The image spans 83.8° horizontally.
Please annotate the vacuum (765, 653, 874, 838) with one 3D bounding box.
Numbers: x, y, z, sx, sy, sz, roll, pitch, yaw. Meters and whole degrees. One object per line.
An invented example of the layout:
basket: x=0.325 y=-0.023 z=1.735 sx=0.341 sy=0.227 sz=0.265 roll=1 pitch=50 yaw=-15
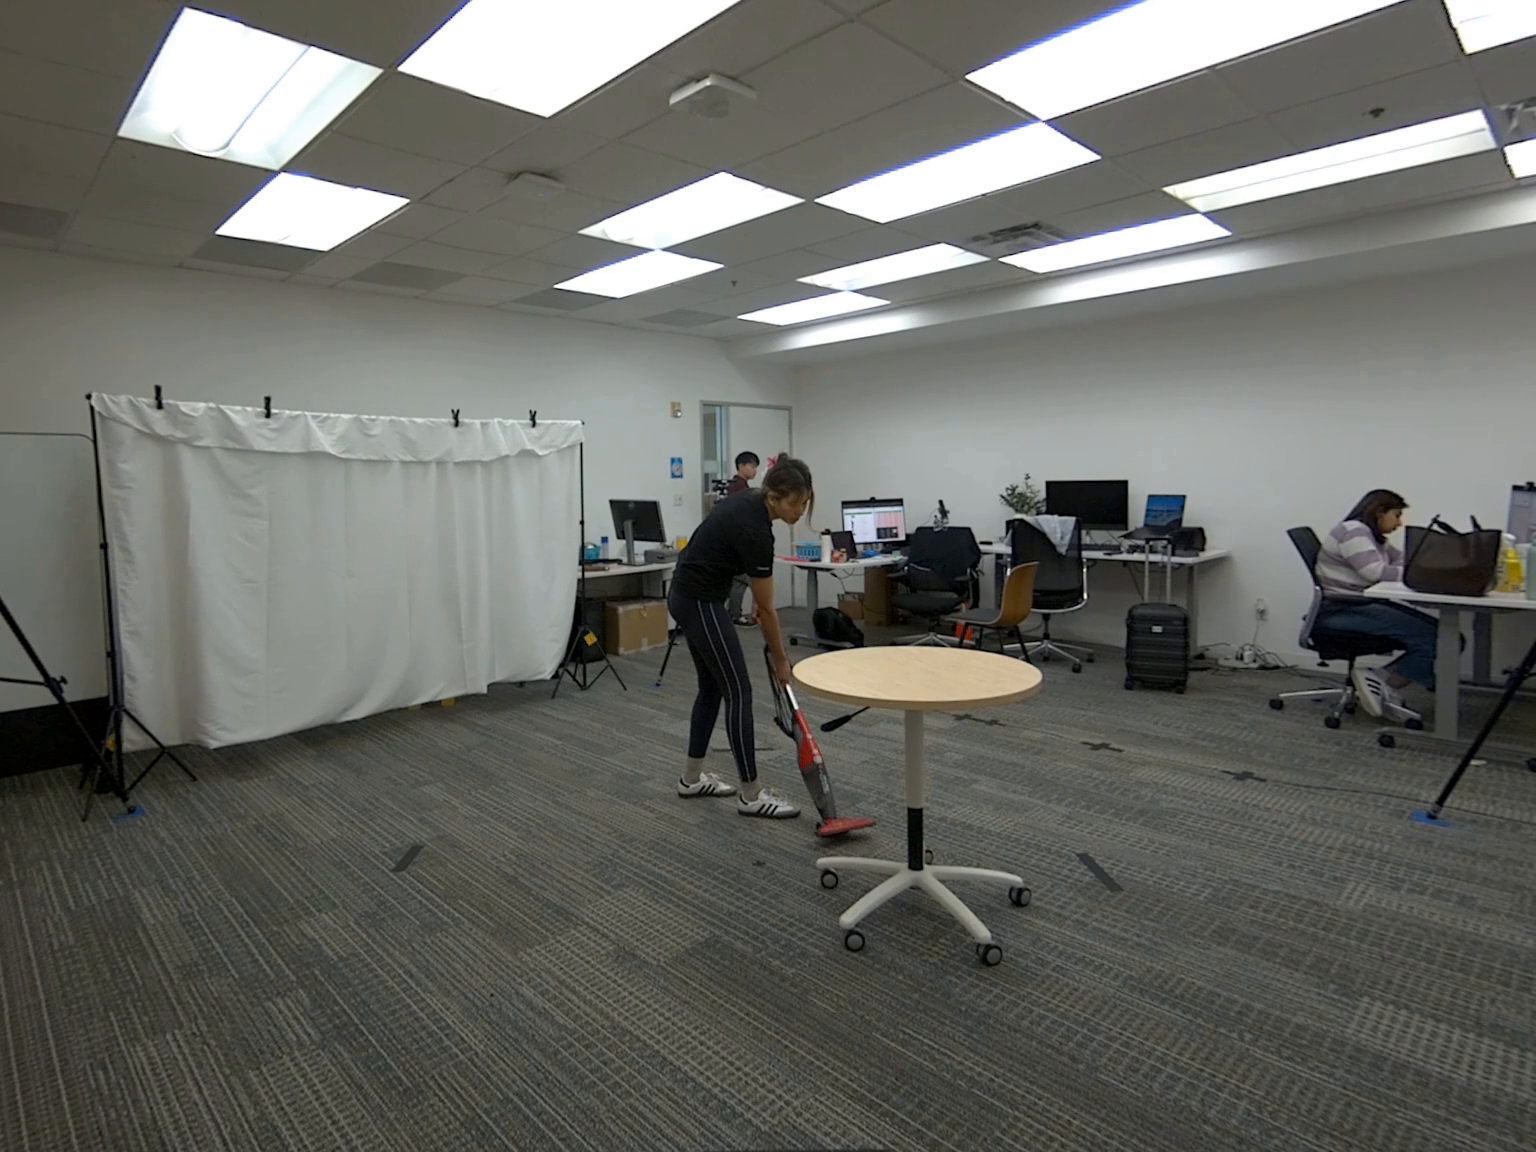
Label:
vacuum: x=0.119 y=0.604 z=3.626 sx=0.247 sy=0.142 sz=1.087 roll=-2 pitch=48 yaw=-25
